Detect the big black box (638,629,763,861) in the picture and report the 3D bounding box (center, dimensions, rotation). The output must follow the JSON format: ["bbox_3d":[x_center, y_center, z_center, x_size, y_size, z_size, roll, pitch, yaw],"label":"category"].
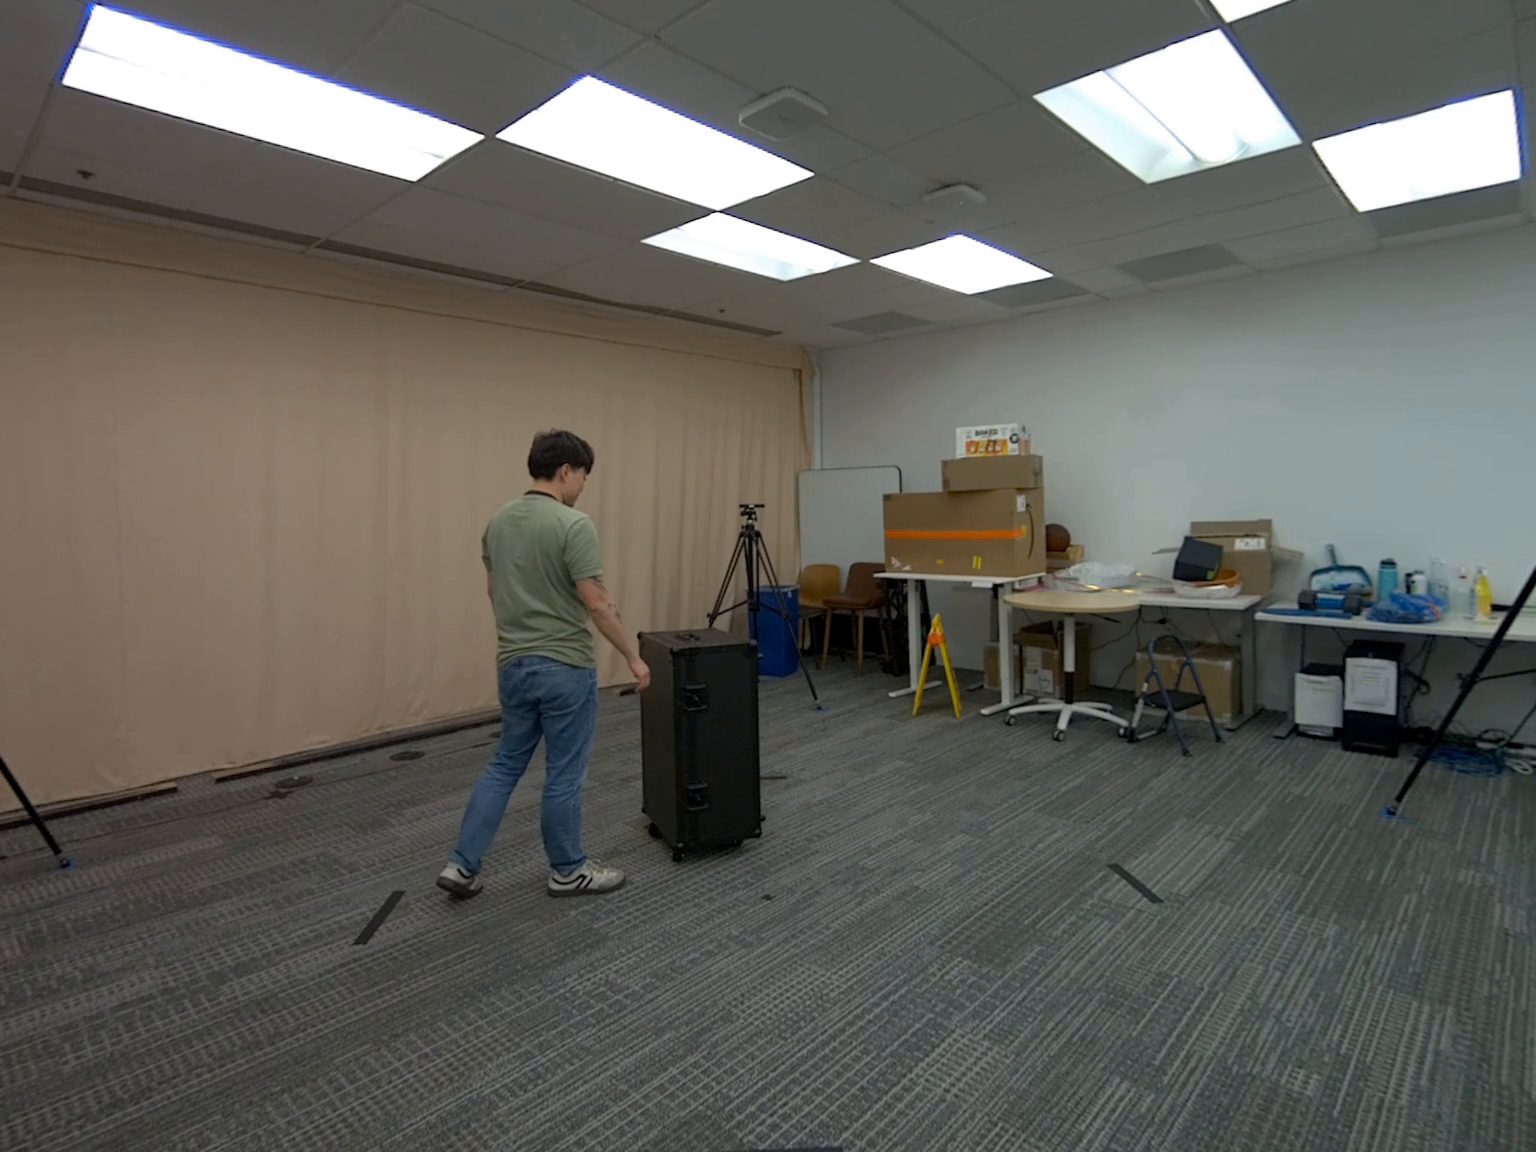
[{"bbox_3d":[-0.287,0.674,3.502,0.387,0.860,0.534,-2,2,-24],"label":"big black box"}]
